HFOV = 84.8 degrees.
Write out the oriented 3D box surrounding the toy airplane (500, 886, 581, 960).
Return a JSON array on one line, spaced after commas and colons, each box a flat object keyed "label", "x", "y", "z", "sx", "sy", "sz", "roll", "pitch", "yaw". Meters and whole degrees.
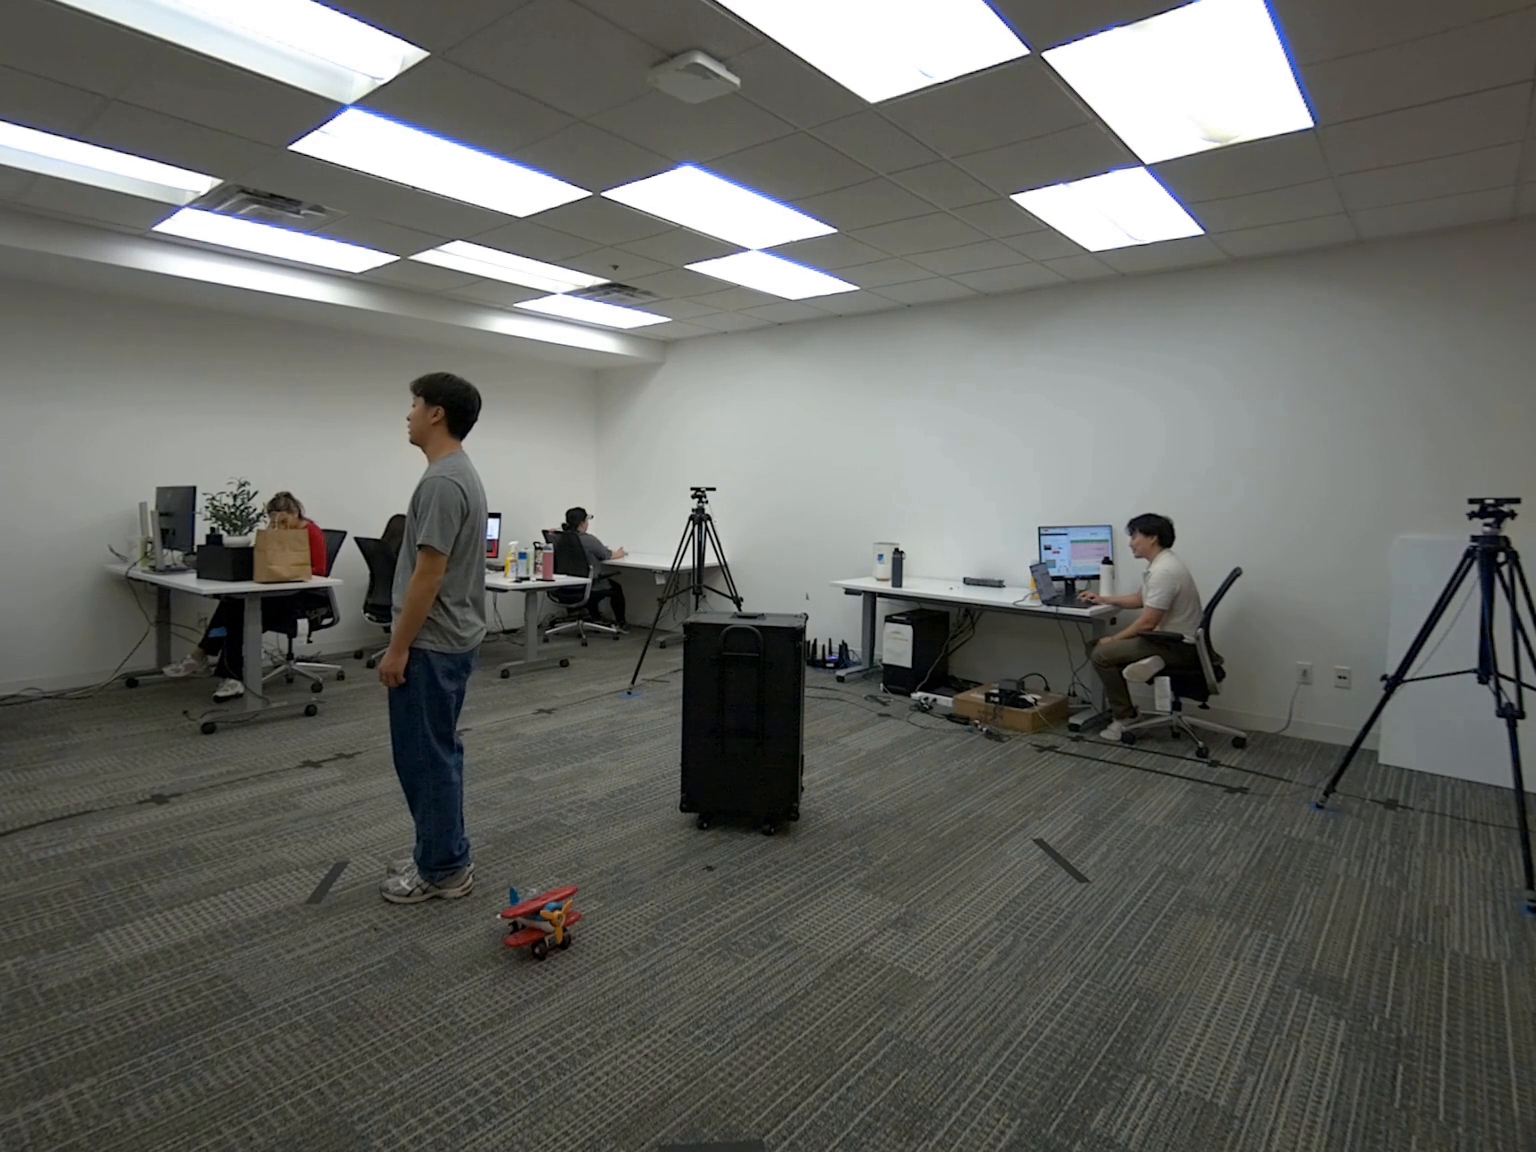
[{"label": "toy airplane", "x": -0.725, "y": 1.038, "z": 2.566, "sx": 0.263, "sy": 0.156, "sz": 0.248, "roll": 4, "pitch": 5, "yaw": 14}]
